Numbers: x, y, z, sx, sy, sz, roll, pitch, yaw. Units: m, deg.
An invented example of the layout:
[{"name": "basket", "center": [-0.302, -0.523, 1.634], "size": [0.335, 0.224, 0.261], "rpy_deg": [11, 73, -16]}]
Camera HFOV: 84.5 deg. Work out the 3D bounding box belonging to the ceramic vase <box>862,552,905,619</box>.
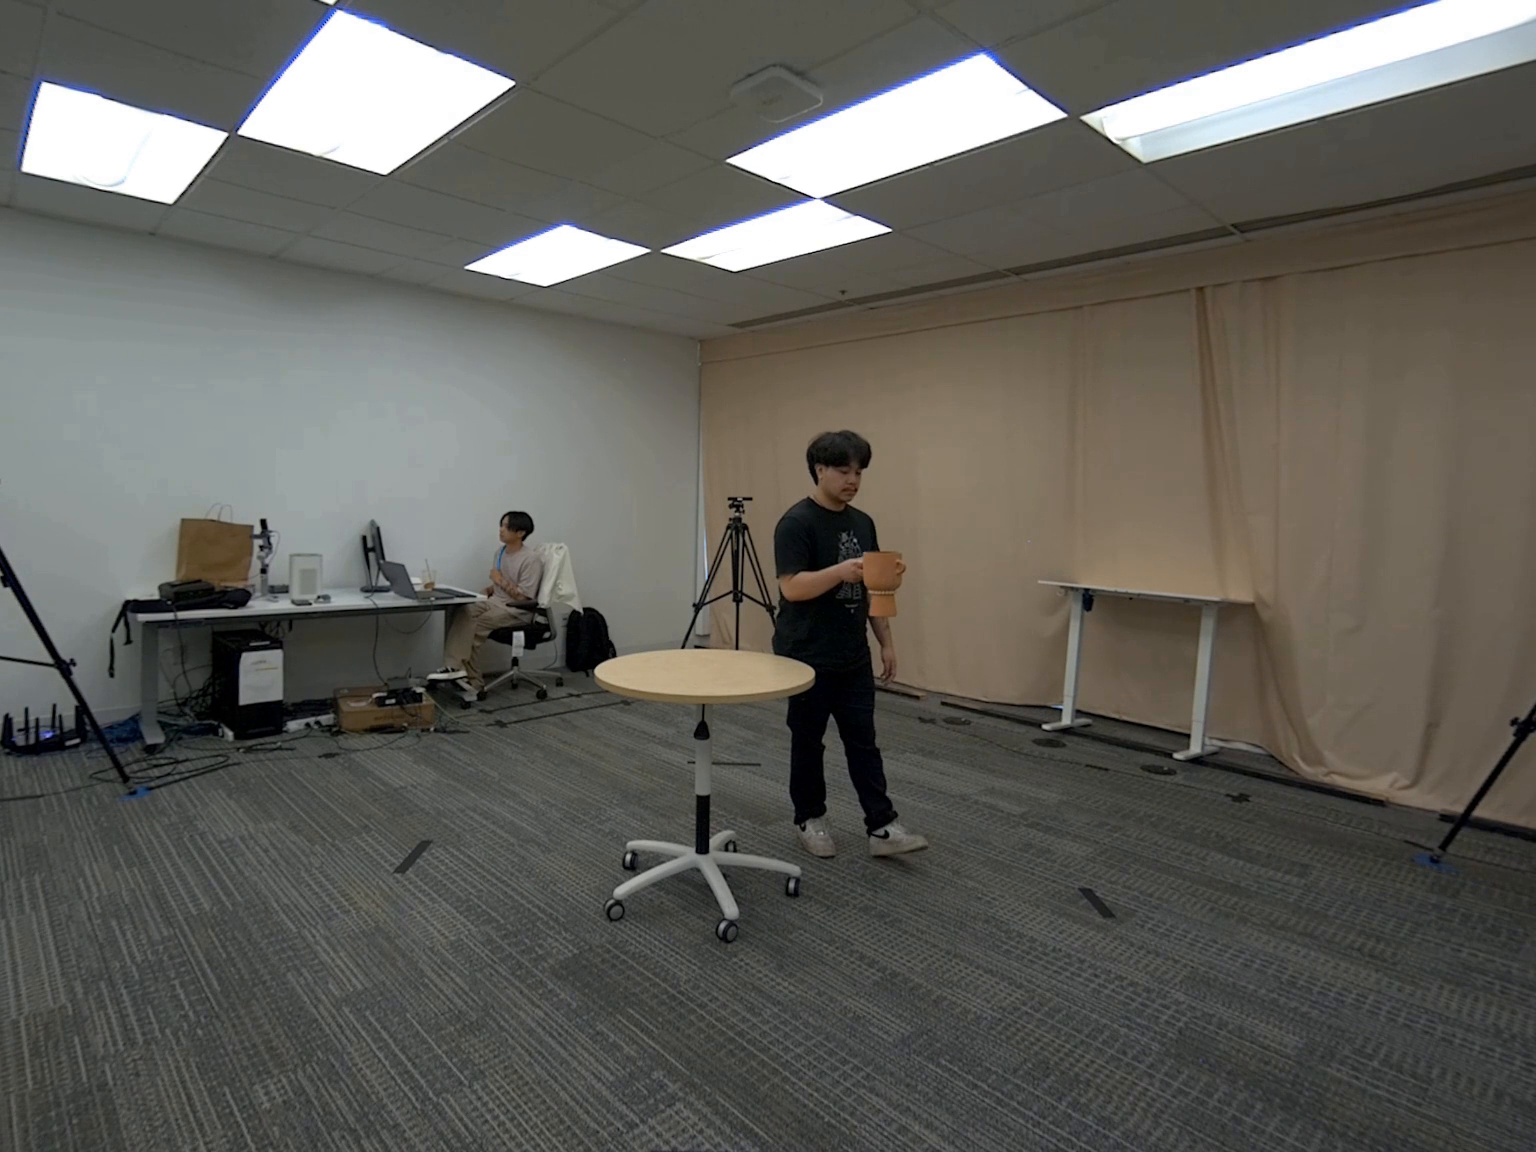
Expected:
[{"name": "ceramic vase", "center": [0.379, 0.024, 2.925], "size": [0.134, 0.219, 0.160], "rpy_deg": [-1, 4, -7]}]
